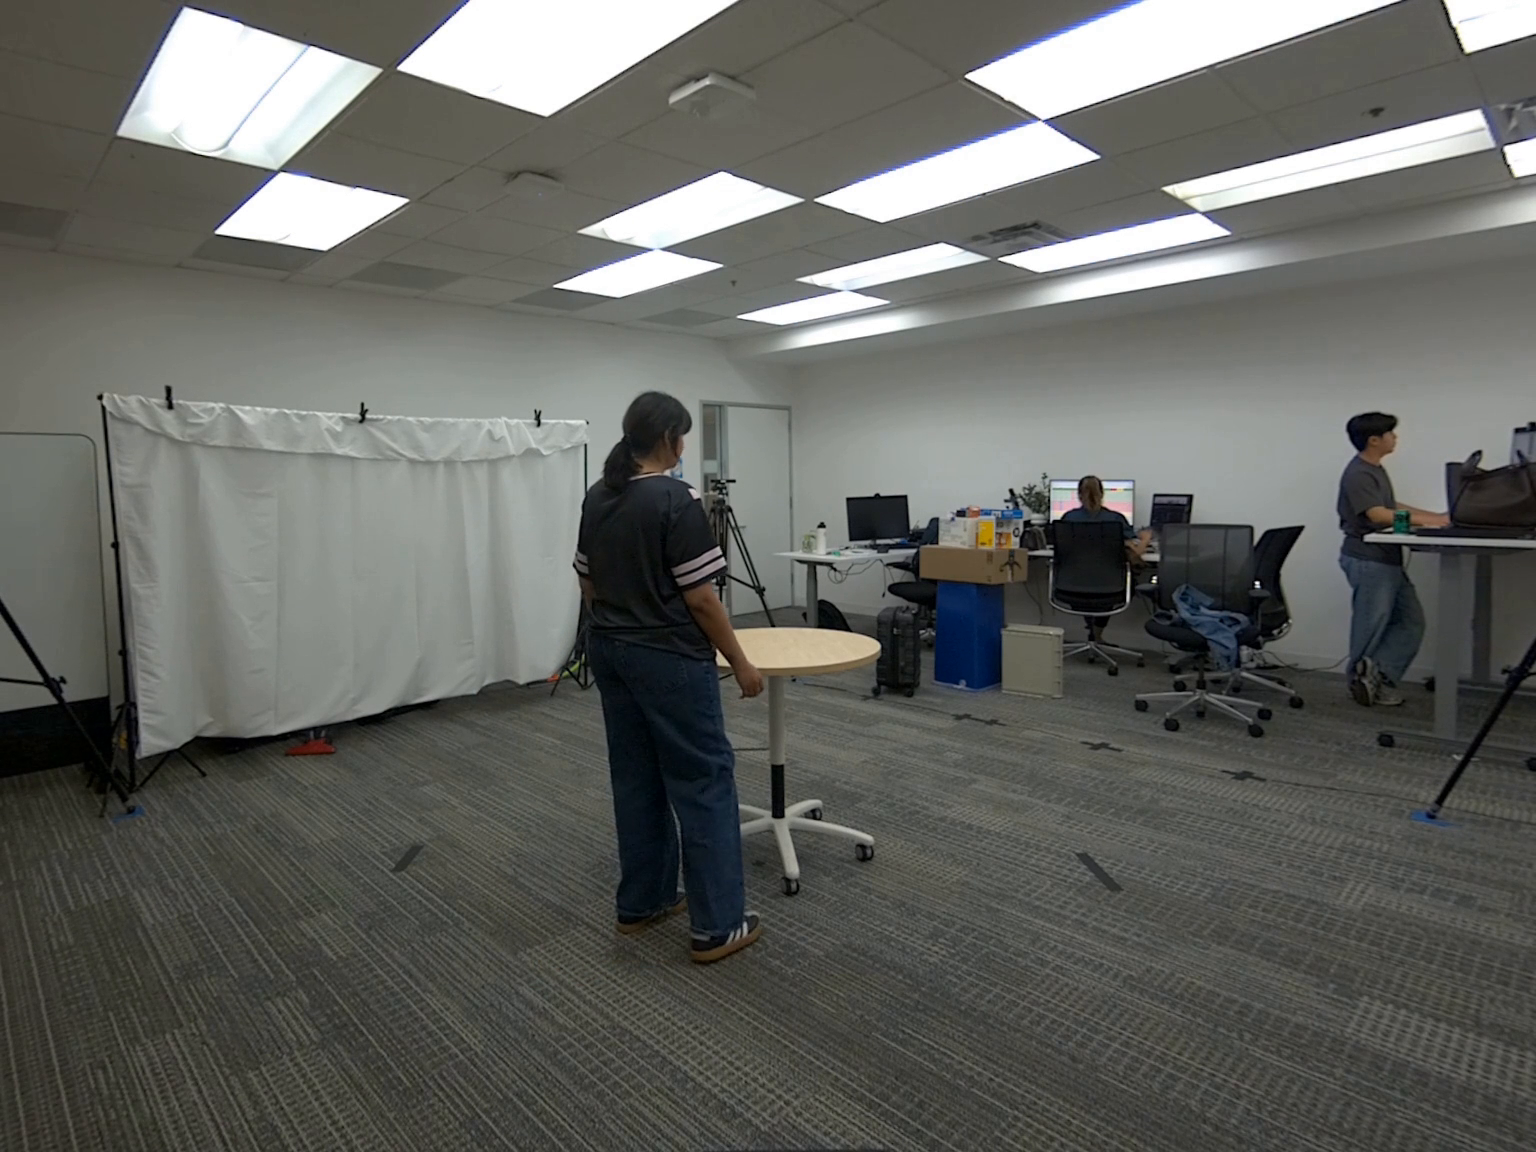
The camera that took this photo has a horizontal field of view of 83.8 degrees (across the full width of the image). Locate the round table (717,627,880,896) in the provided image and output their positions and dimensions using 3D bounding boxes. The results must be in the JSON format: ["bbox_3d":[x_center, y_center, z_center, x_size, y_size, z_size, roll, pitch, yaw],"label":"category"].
[{"bbox_3d":[0.039,0.649,3.170,0.763,0.791,0.768,-1,5,-2],"label":"round table"}]
